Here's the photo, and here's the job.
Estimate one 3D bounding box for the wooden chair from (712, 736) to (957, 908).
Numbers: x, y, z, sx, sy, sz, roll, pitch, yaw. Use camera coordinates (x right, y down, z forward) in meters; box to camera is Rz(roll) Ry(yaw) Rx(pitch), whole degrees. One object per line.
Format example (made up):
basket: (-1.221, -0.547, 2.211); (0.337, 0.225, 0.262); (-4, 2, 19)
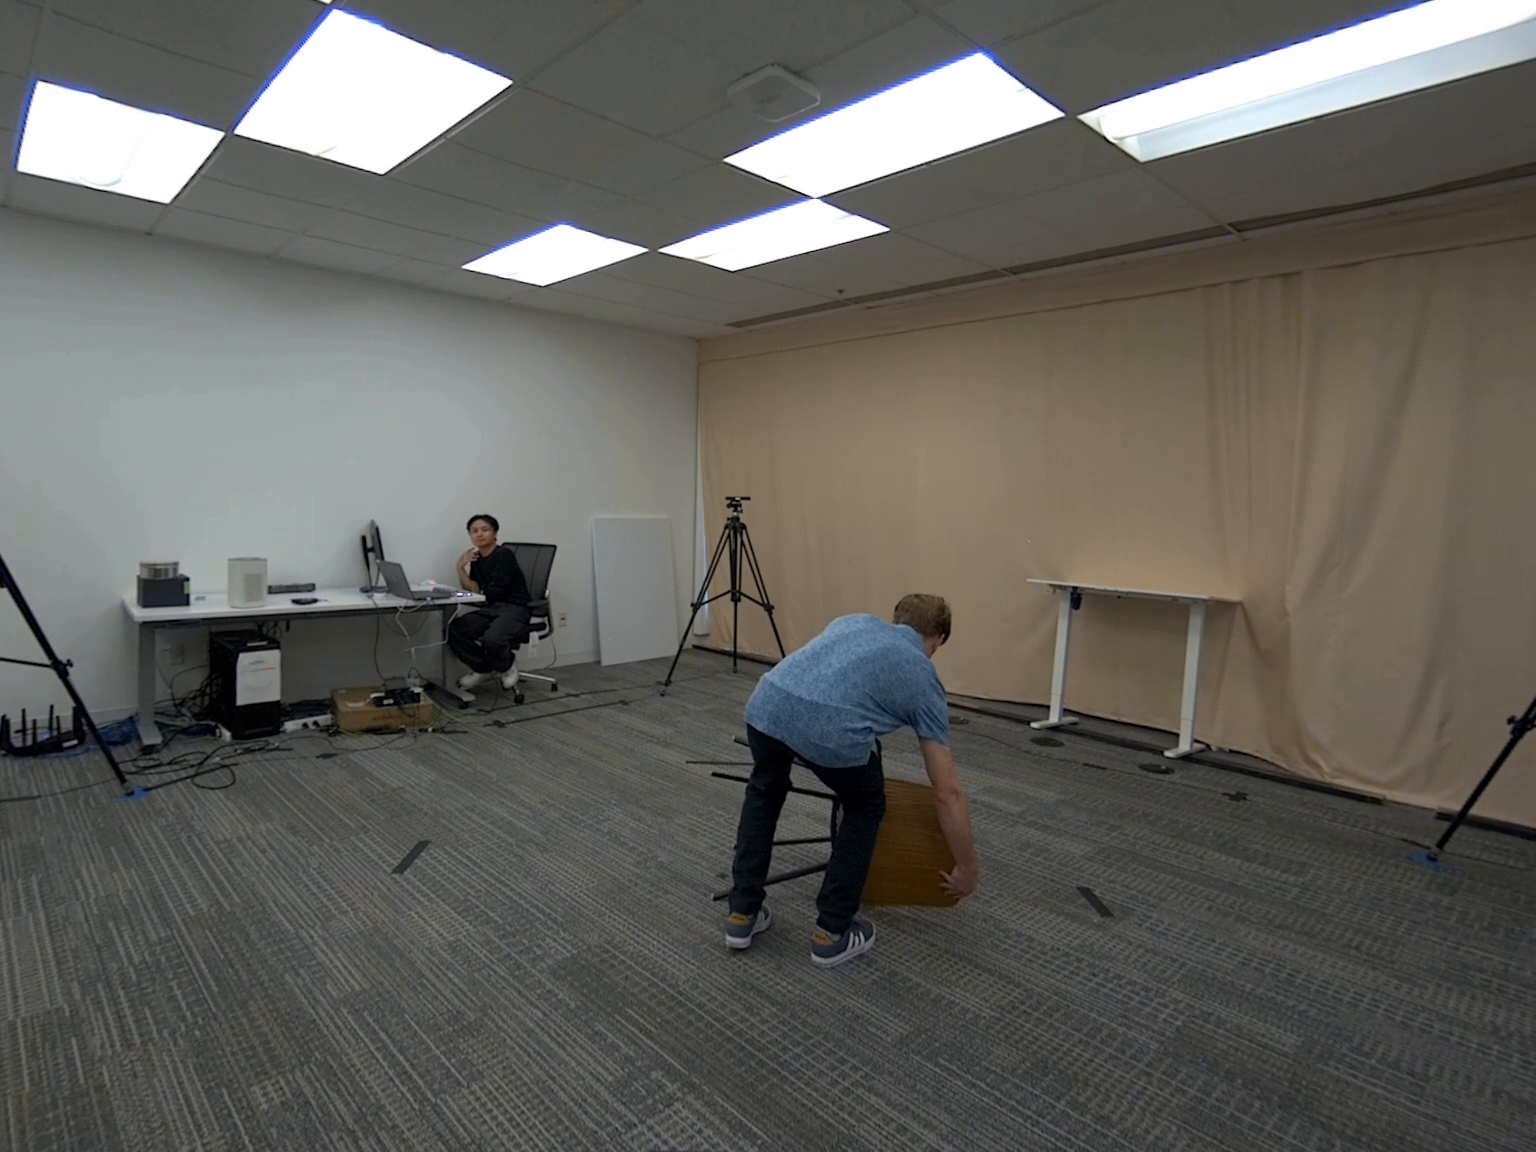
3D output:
wooden chair: (0.254, 0.886, 3.053); (0.887, 0.477, 0.518); (1, 3, 13)
